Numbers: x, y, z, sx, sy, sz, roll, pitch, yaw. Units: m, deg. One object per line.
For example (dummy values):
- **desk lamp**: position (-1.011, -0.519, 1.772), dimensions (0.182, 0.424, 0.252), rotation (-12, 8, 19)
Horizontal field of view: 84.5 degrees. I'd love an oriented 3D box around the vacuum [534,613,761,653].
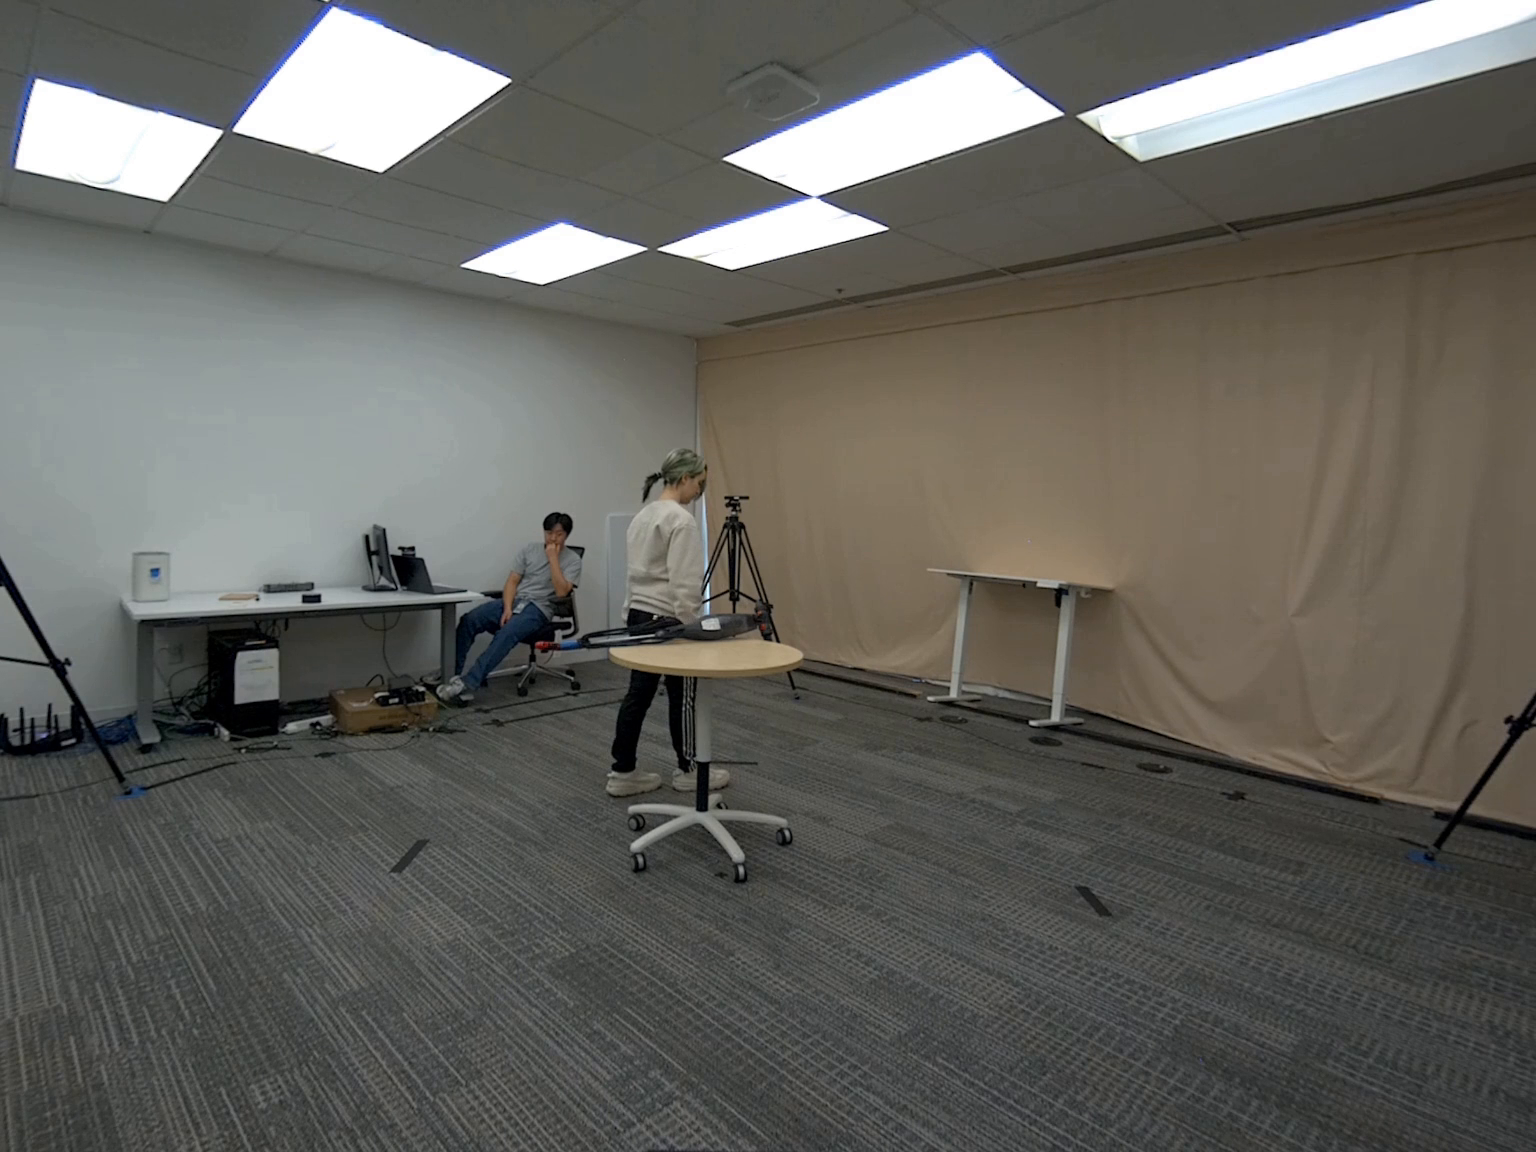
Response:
- **vacuum**: position (-0.449, 0.248, 3.498), dimensions (1.029, 0.257, 0.144), rotation (-4, -25, -30)
